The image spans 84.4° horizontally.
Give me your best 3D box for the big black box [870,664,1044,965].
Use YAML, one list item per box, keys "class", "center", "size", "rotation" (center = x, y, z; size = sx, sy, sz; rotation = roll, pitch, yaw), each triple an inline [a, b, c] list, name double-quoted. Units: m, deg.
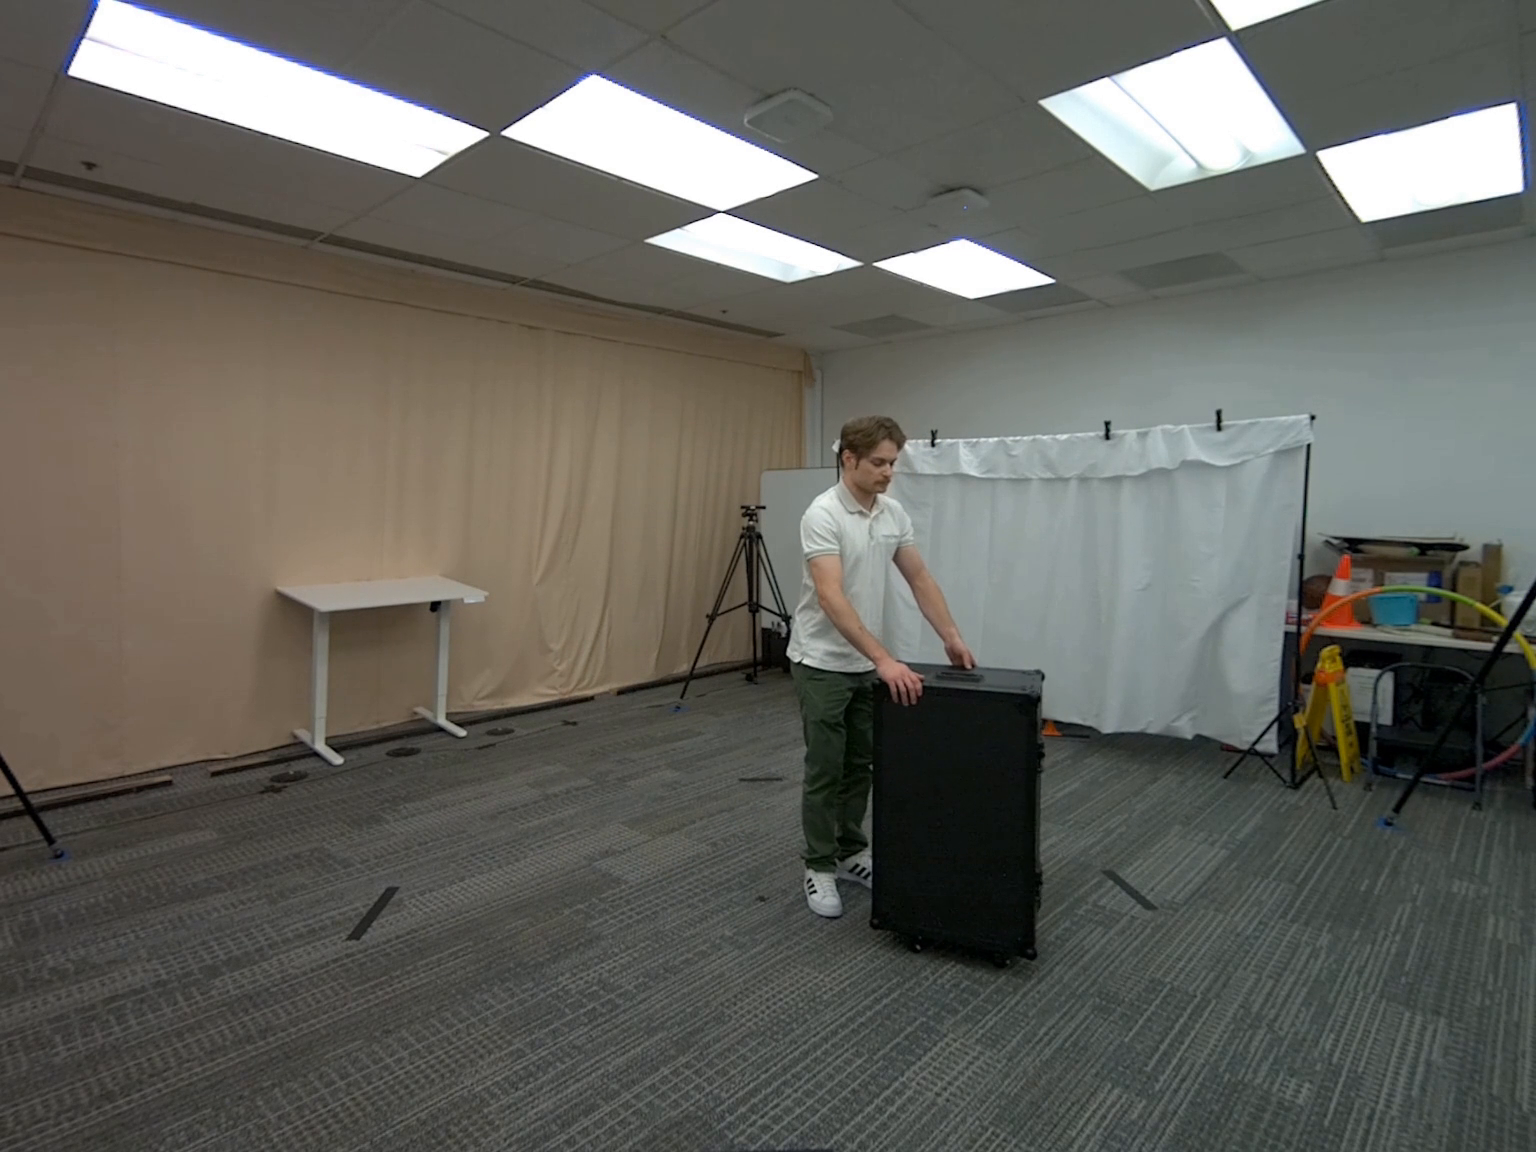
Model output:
- class: "big black box"
  center: [0.613, 0.744, 2.681]
  size: [0.535, 0.866, 0.377]
  rotation: [1, 4, 21]
